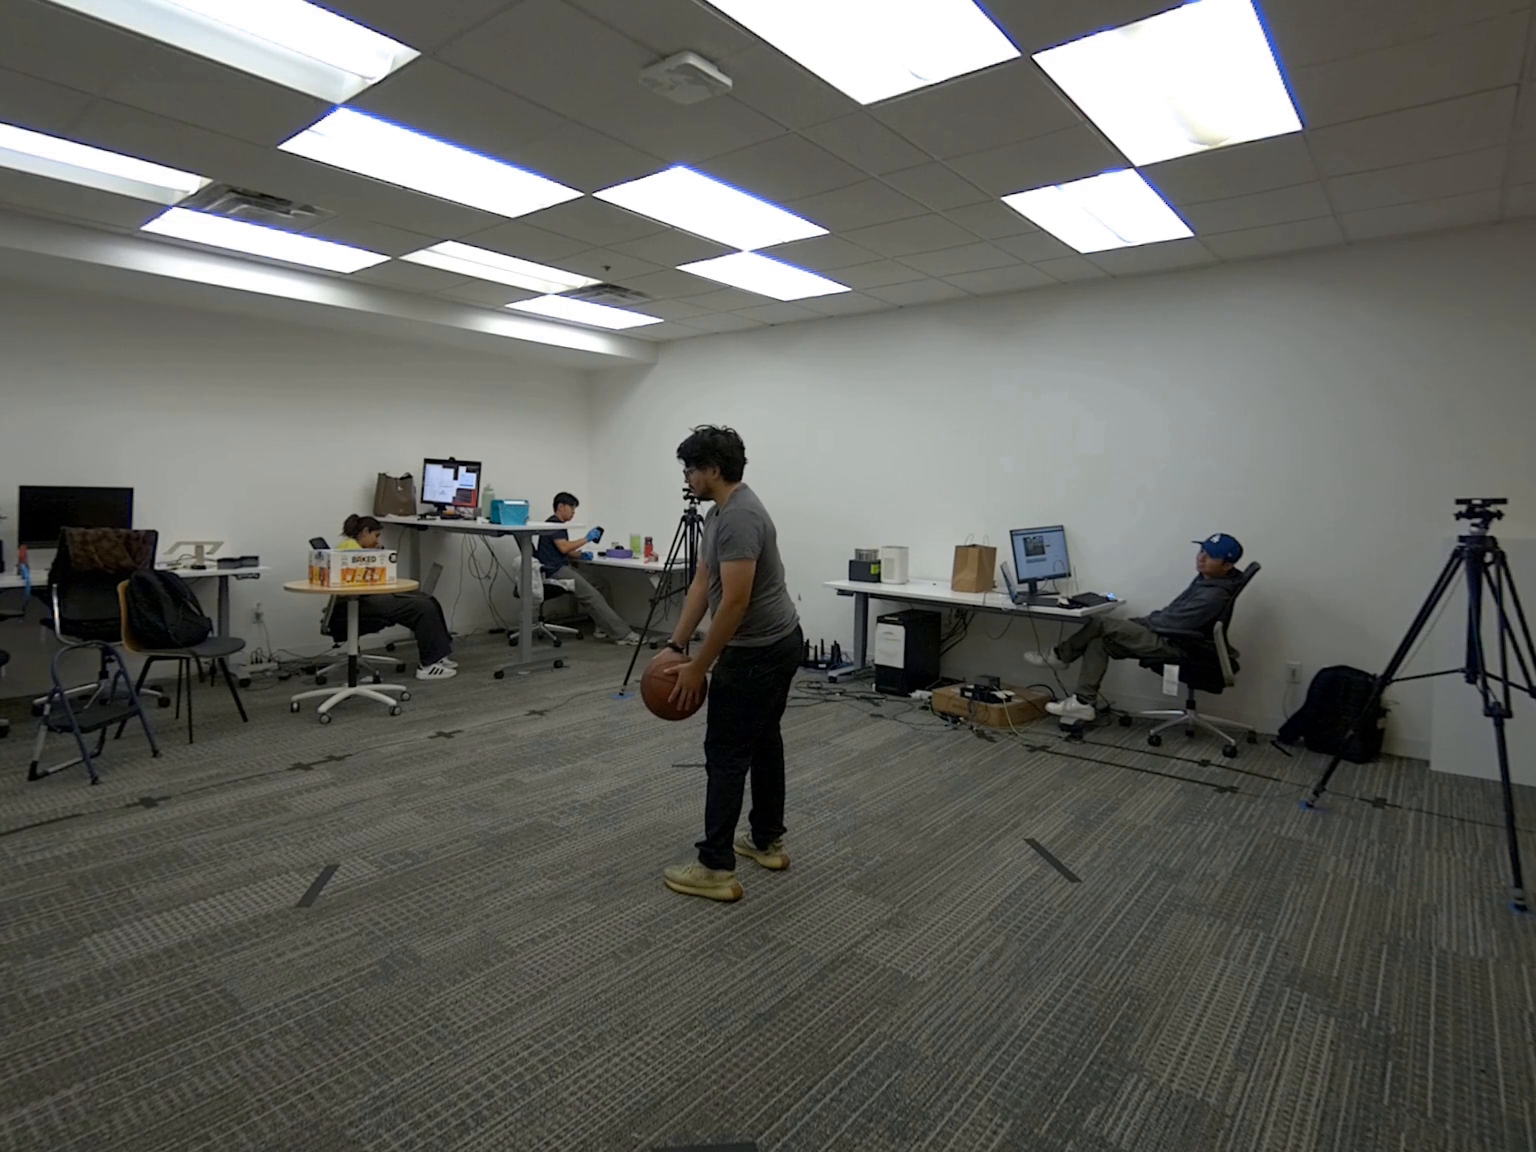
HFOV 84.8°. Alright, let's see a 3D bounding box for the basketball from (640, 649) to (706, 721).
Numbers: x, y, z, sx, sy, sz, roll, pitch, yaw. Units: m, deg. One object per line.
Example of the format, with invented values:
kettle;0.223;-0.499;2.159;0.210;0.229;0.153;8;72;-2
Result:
basketball;-0.341;0.388;3.024;0.235;0.235;0.237;1;4;-2
